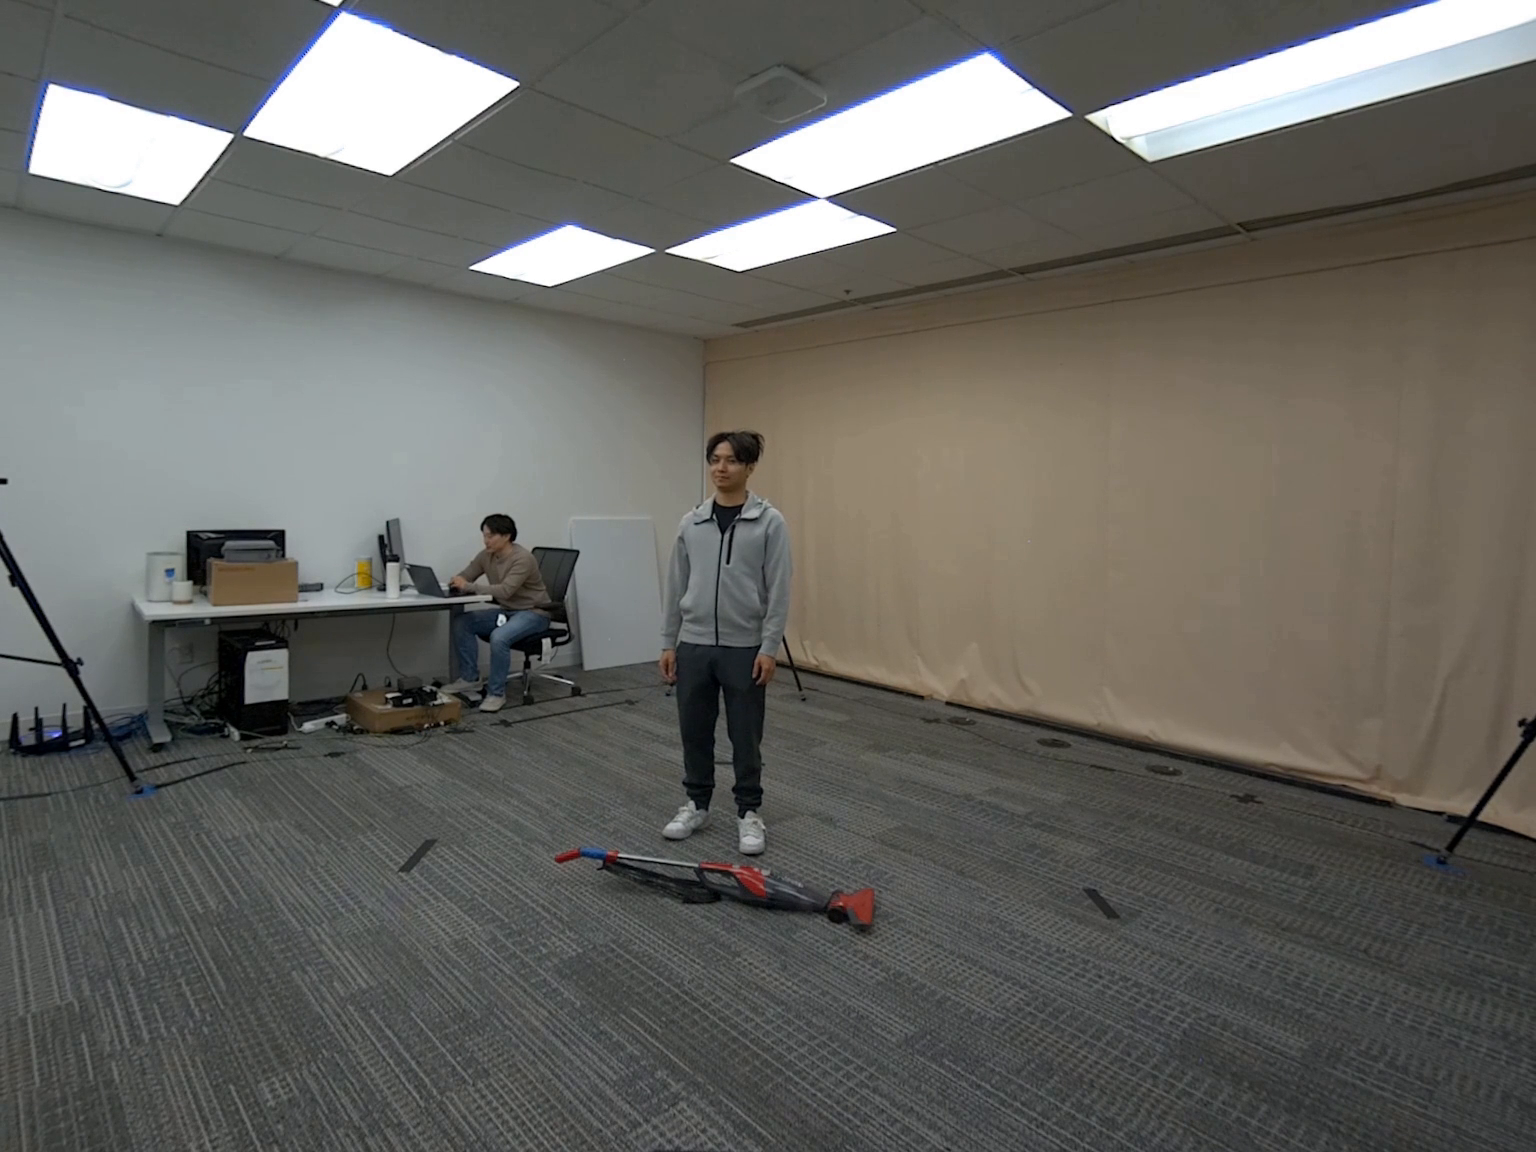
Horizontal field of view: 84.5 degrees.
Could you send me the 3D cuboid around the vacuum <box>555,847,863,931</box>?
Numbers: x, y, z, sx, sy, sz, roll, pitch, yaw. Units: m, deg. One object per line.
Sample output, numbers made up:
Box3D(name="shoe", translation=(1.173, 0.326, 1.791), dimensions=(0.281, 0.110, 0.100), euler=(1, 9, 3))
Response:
Box3D(name="vacuum", translation=(-0.239, 1.055, 2.939), dimensions=(1.059, 0.143, 0.251), euler=(5, 4, 11))
